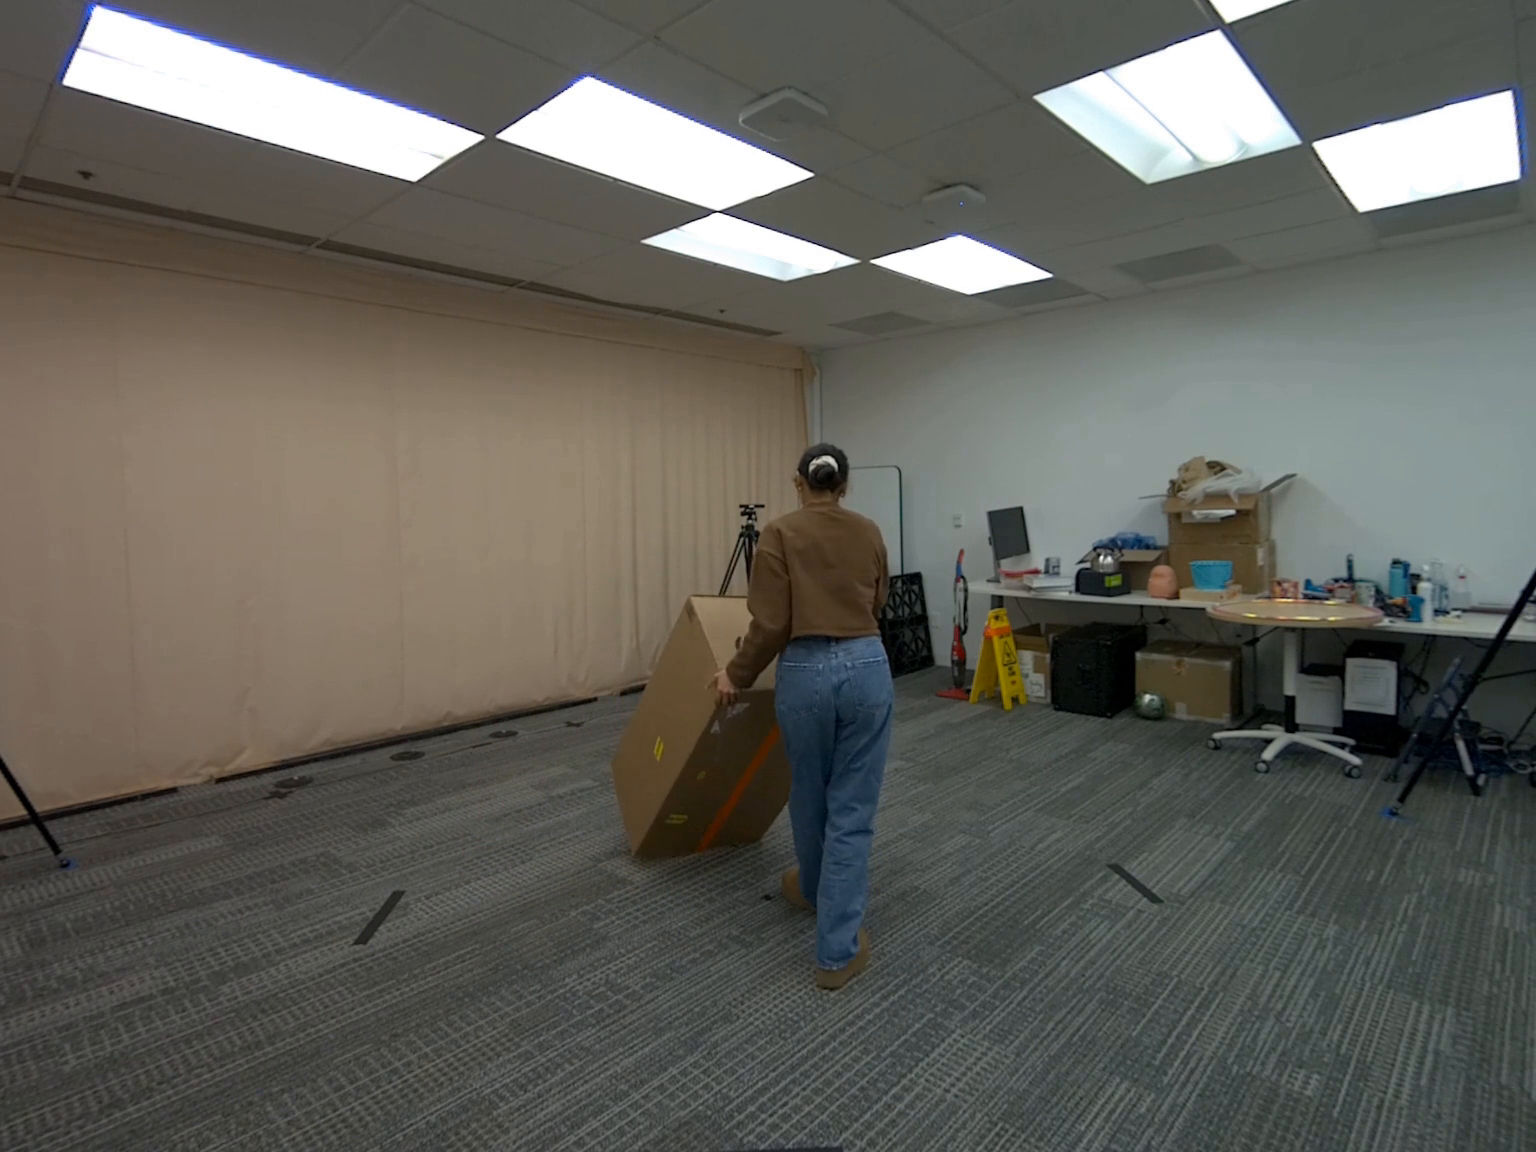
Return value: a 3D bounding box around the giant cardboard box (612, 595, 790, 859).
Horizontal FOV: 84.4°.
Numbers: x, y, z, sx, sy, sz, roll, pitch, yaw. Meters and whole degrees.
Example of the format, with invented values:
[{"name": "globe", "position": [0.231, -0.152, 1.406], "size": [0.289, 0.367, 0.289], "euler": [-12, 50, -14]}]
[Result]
[{"name": "giant cardboard box", "position": [-0.156, 0.585, 3.219], "size": [0.568, 1.024, 0.460], "euler": [3, 42, -29]}]
